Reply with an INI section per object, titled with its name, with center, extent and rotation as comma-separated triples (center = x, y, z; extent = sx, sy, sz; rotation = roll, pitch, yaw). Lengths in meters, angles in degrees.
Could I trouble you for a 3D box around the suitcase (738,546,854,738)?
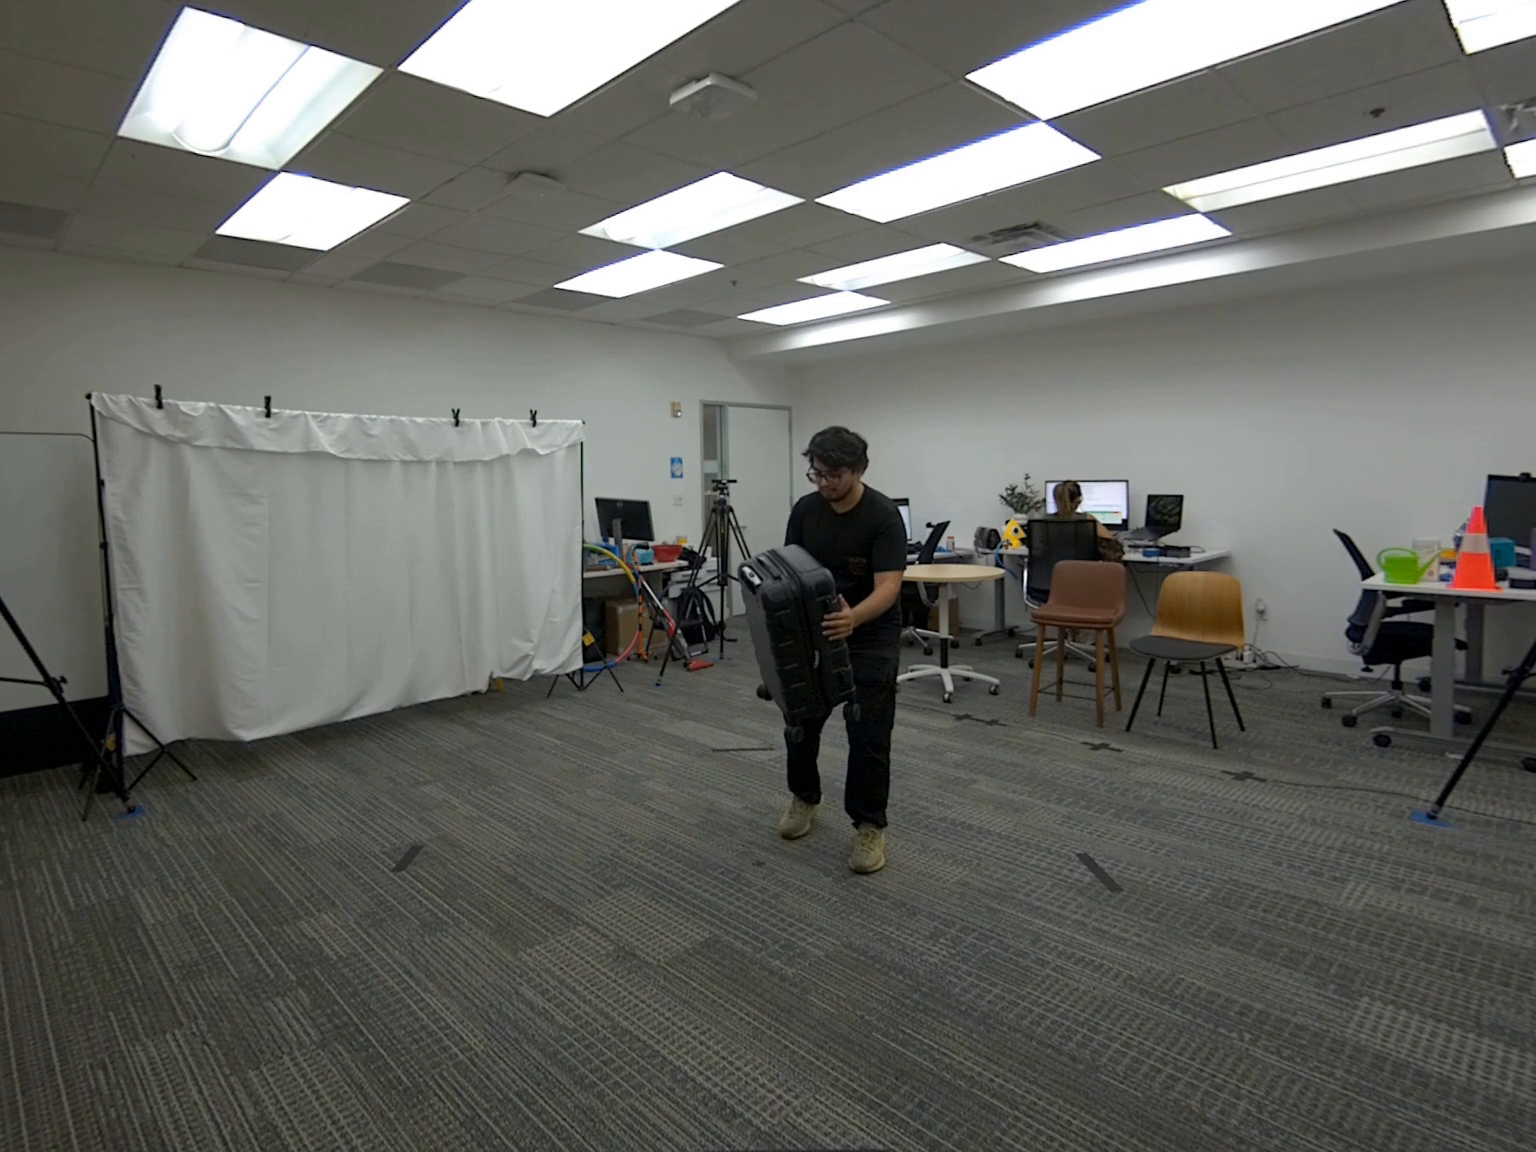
[suitcase]
center = 0.094, 0.191, 2.831
extent = 0.246, 0.538, 0.386
rotation = -17, 20, -13
